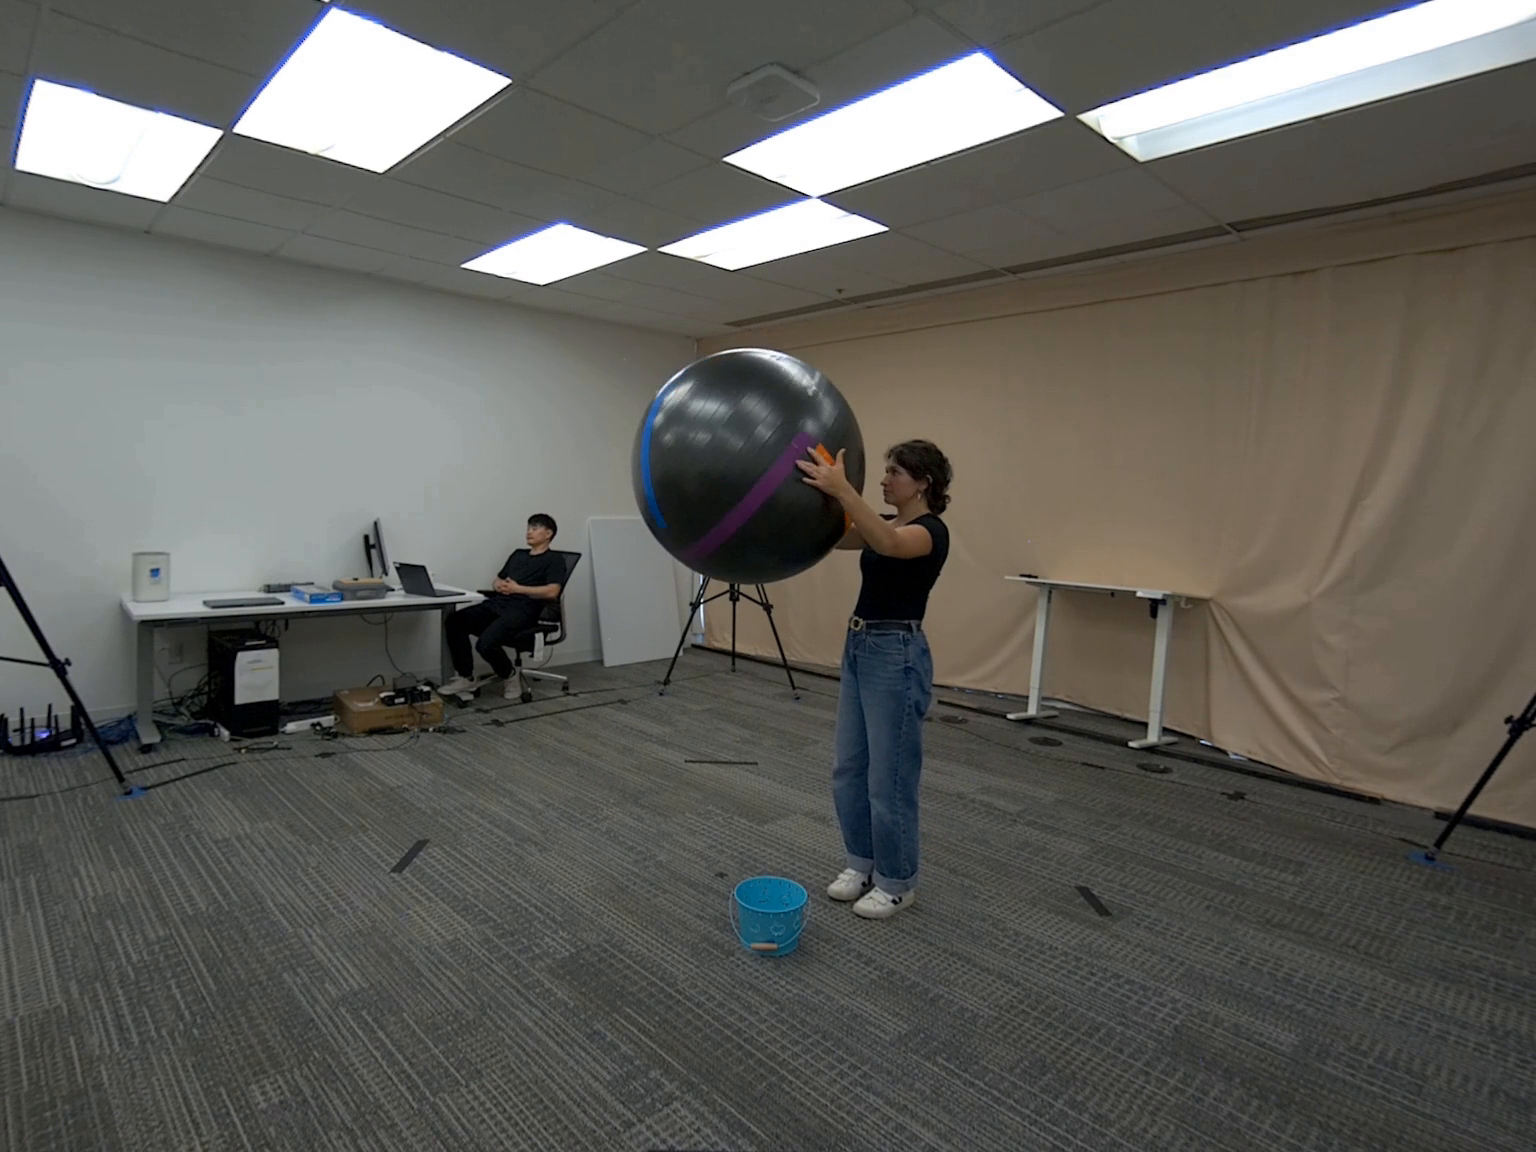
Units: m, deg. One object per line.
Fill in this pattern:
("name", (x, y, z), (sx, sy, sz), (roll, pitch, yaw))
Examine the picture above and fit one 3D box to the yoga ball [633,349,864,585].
("yoga ball", (-0.071, -0.343, 2.728), (0.757, 0.756, 0.761), (1, 4, -1))
